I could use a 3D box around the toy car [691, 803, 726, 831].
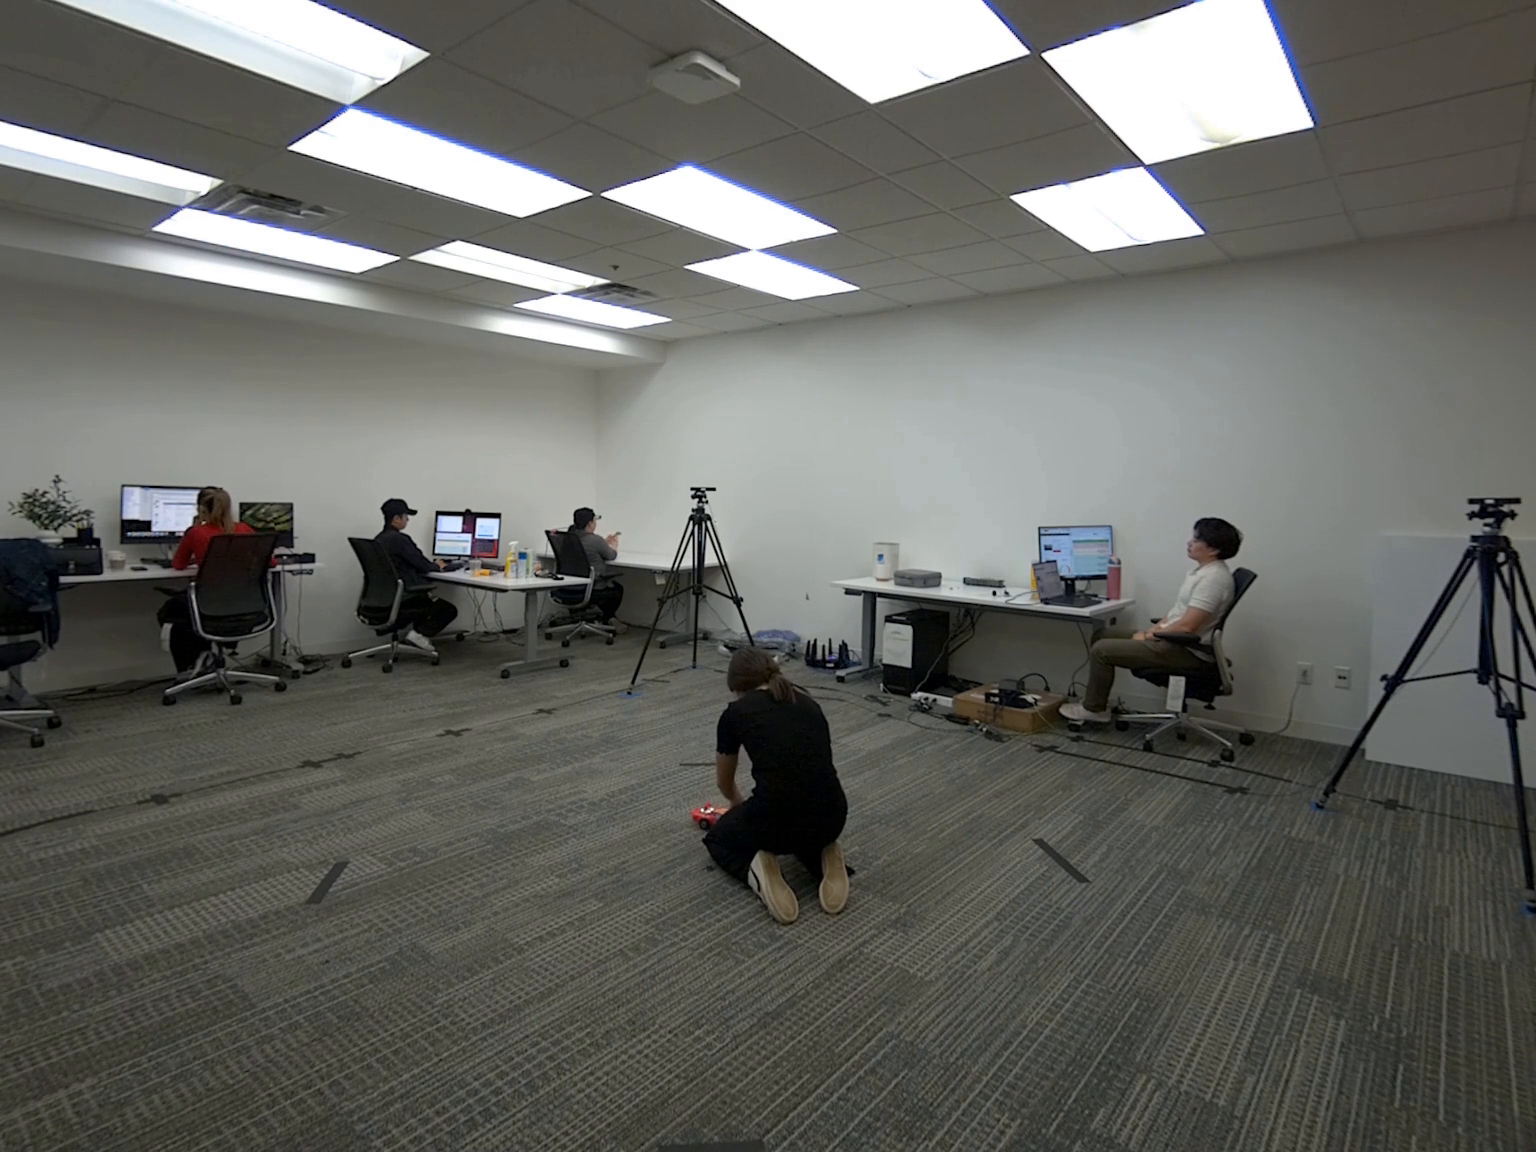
[{"bbox_3d":[-0.205,0.999,3.495,0.261,0.083,0.128,16,10,20],"label":"toy car"}]
